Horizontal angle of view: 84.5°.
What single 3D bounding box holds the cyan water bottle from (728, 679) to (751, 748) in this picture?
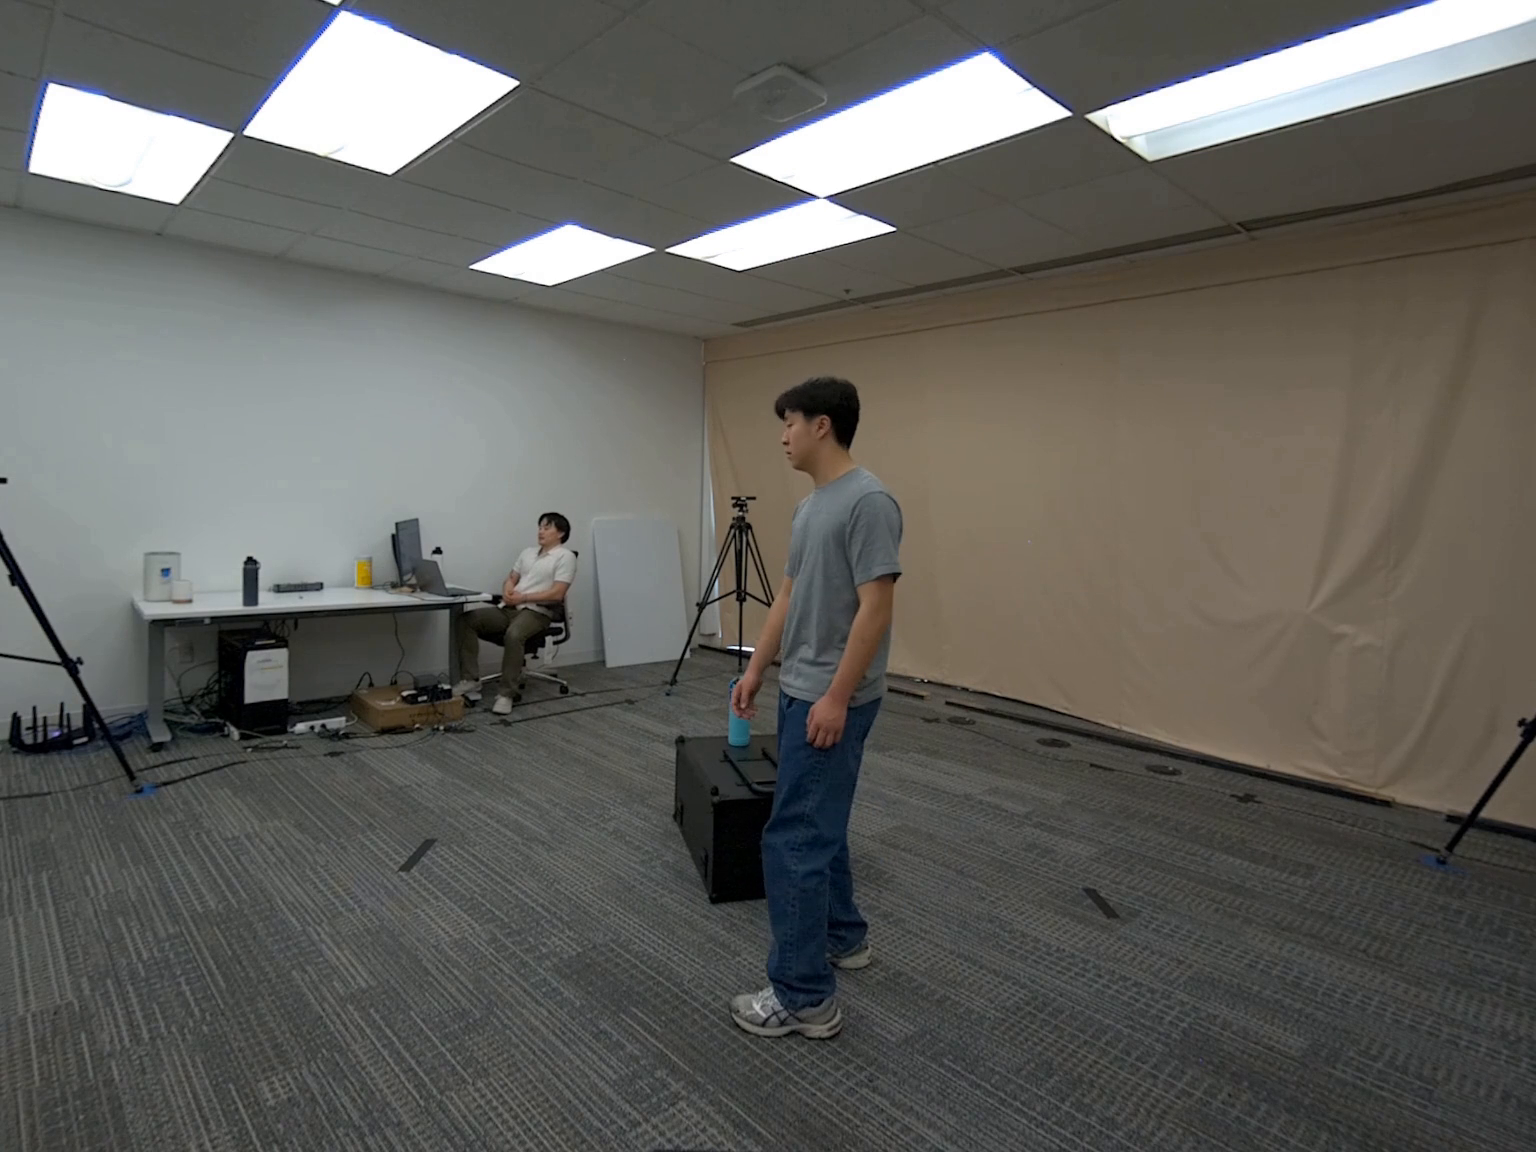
[{"bbox_3d":[-0.128,0.566,3.559,0.092,0.283,0.092,-1,1,-1],"label":"cyan water bottle"}]
